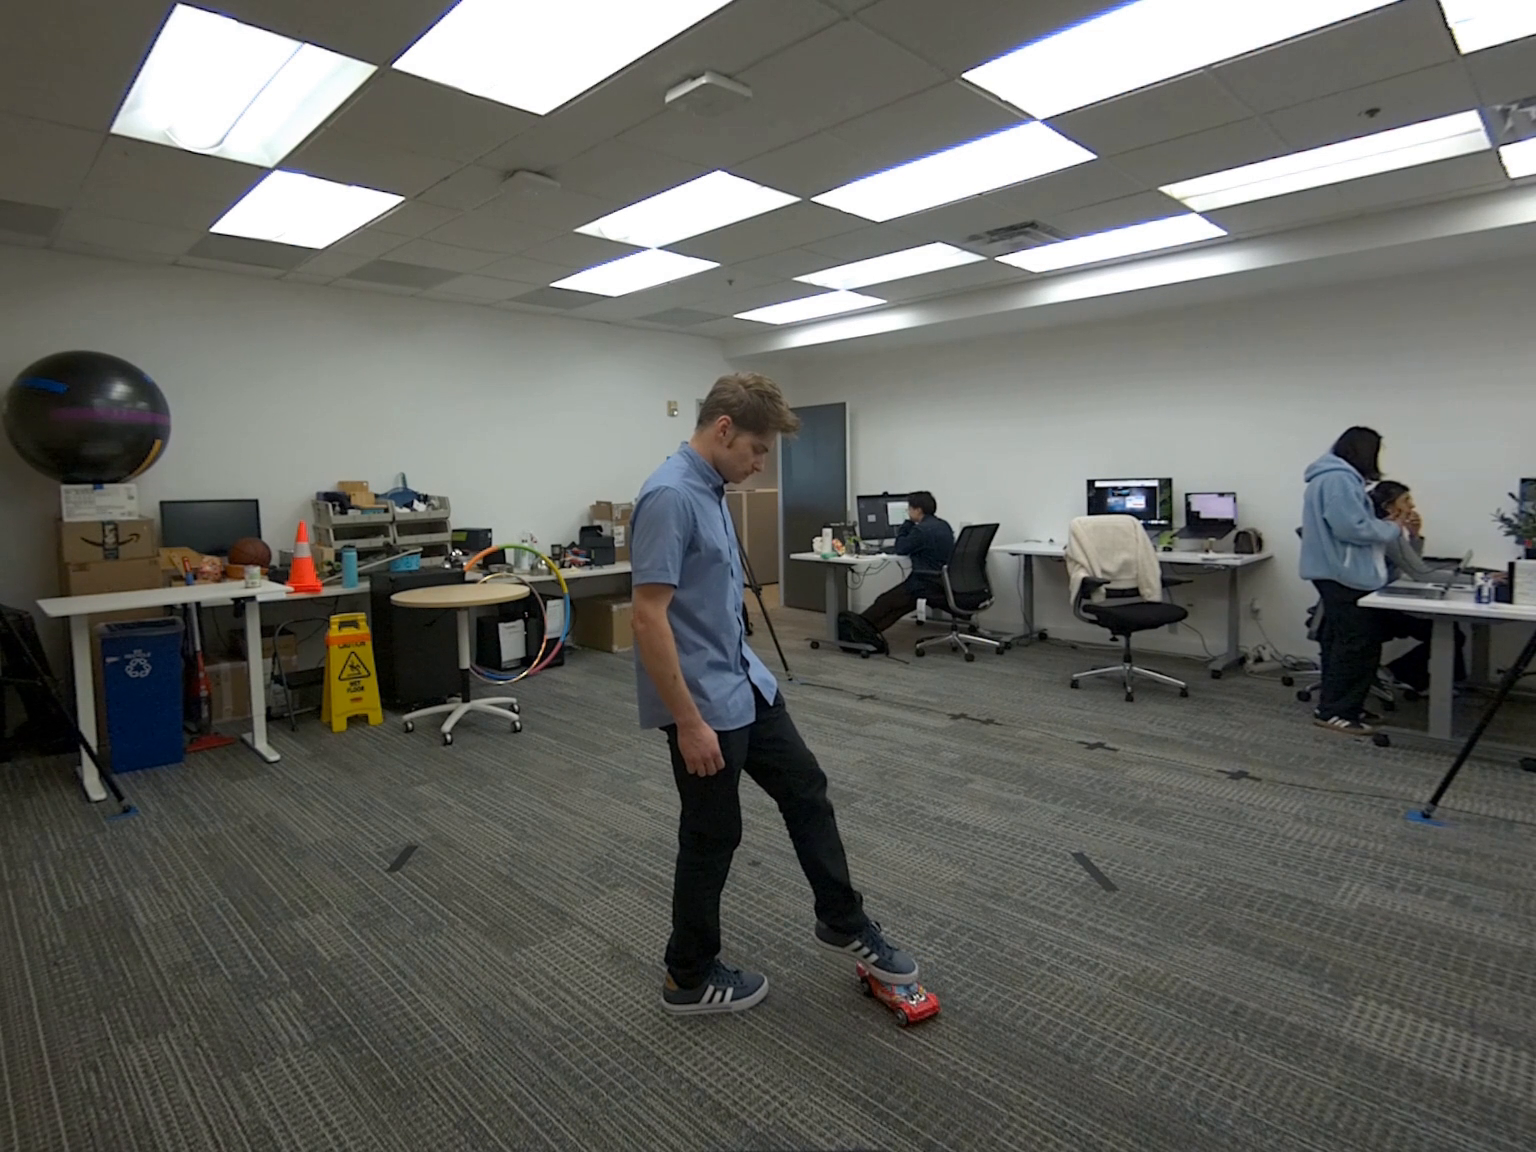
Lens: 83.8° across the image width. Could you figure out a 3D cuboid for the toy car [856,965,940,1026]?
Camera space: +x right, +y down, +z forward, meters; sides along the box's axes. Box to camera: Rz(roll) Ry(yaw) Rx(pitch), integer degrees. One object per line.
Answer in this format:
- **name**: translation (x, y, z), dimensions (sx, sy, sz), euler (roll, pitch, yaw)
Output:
- **toy car**: translation (0.342, 1.104, 2.284), dimensions (0.127, 0.082, 0.263), euler (-5, 17, -28)
